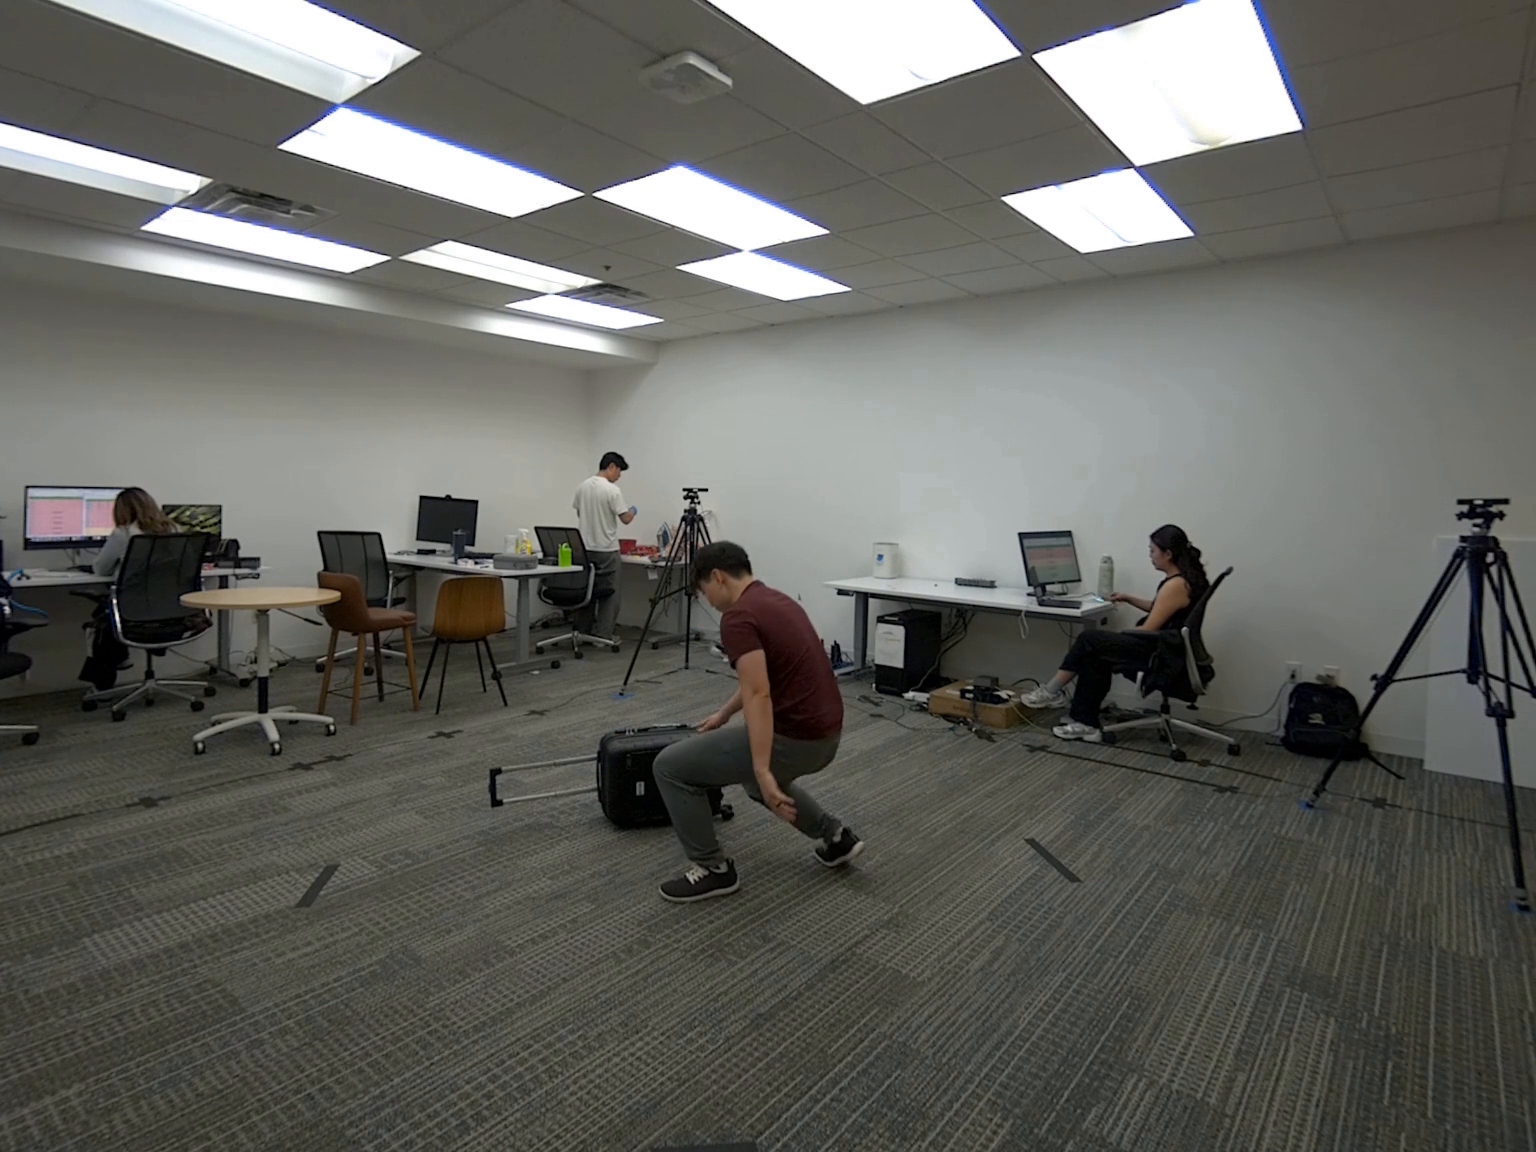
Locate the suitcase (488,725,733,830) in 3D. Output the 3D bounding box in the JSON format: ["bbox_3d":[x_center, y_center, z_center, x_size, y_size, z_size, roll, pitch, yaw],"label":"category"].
[{"bbox_3d":[-0.647,0.834,3.513,0.958,0.383,0.263,-2,4,-22],"label":"suitcase"}]
